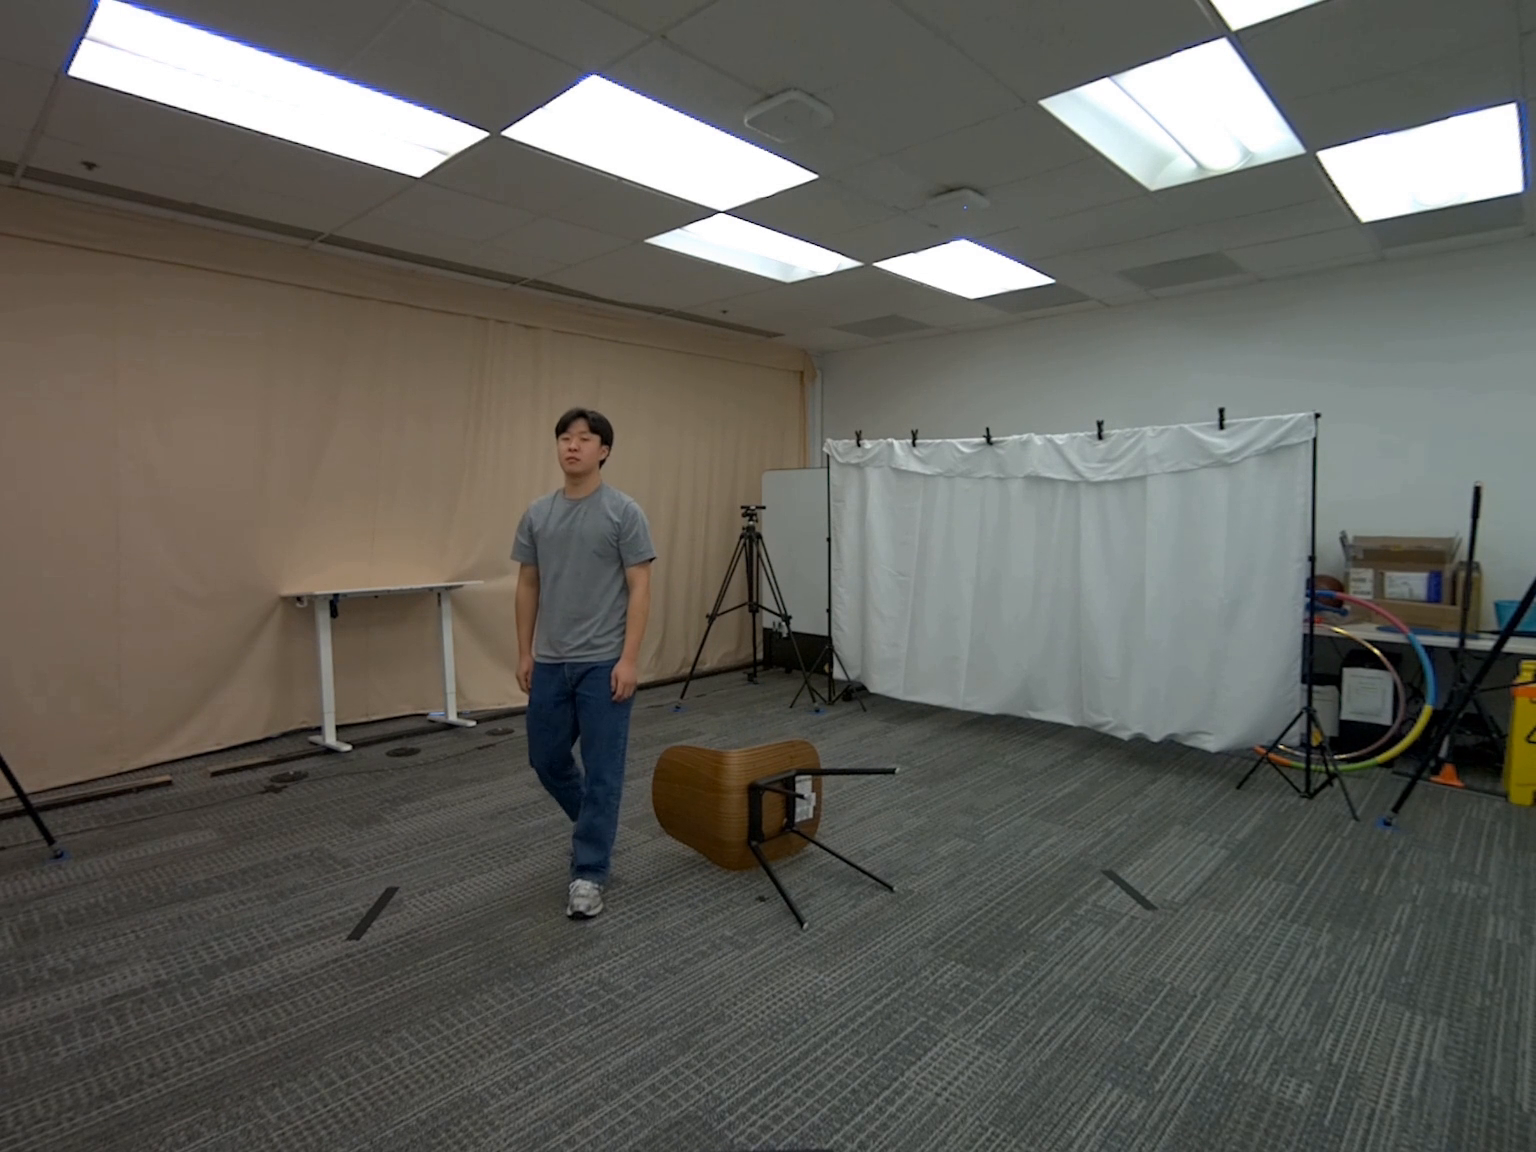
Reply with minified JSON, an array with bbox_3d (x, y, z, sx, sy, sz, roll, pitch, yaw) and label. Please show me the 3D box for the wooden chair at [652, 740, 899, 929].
[{"bbox_3d":[0.022,0.892,3.224,0.507,0.477,0.907,-4,6,-43],"label":"wooden chair"}]
